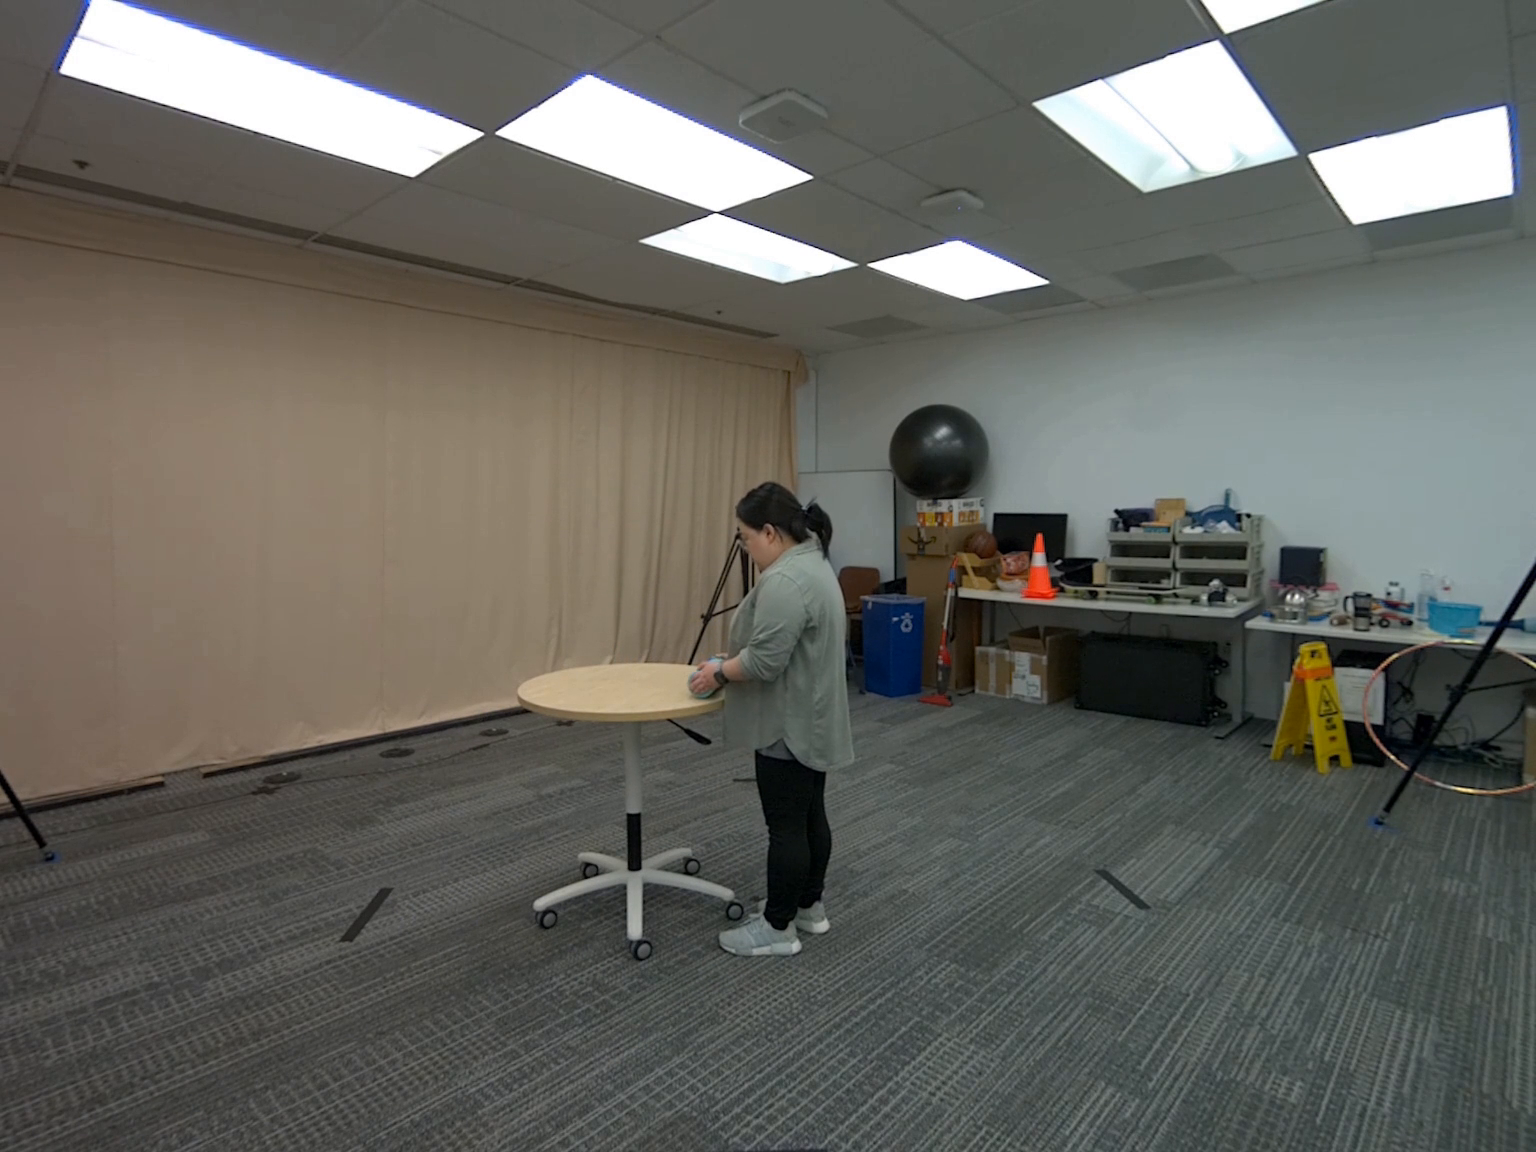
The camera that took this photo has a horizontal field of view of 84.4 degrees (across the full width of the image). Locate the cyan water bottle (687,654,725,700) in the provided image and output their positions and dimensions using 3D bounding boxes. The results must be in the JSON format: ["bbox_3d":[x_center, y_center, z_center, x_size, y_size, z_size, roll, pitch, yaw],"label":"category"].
[{"bbox_3d":[-0.180,0.336,2.785,0.094,0.092,0.280,1,6,12],"label":"cyan water bottle"}]
